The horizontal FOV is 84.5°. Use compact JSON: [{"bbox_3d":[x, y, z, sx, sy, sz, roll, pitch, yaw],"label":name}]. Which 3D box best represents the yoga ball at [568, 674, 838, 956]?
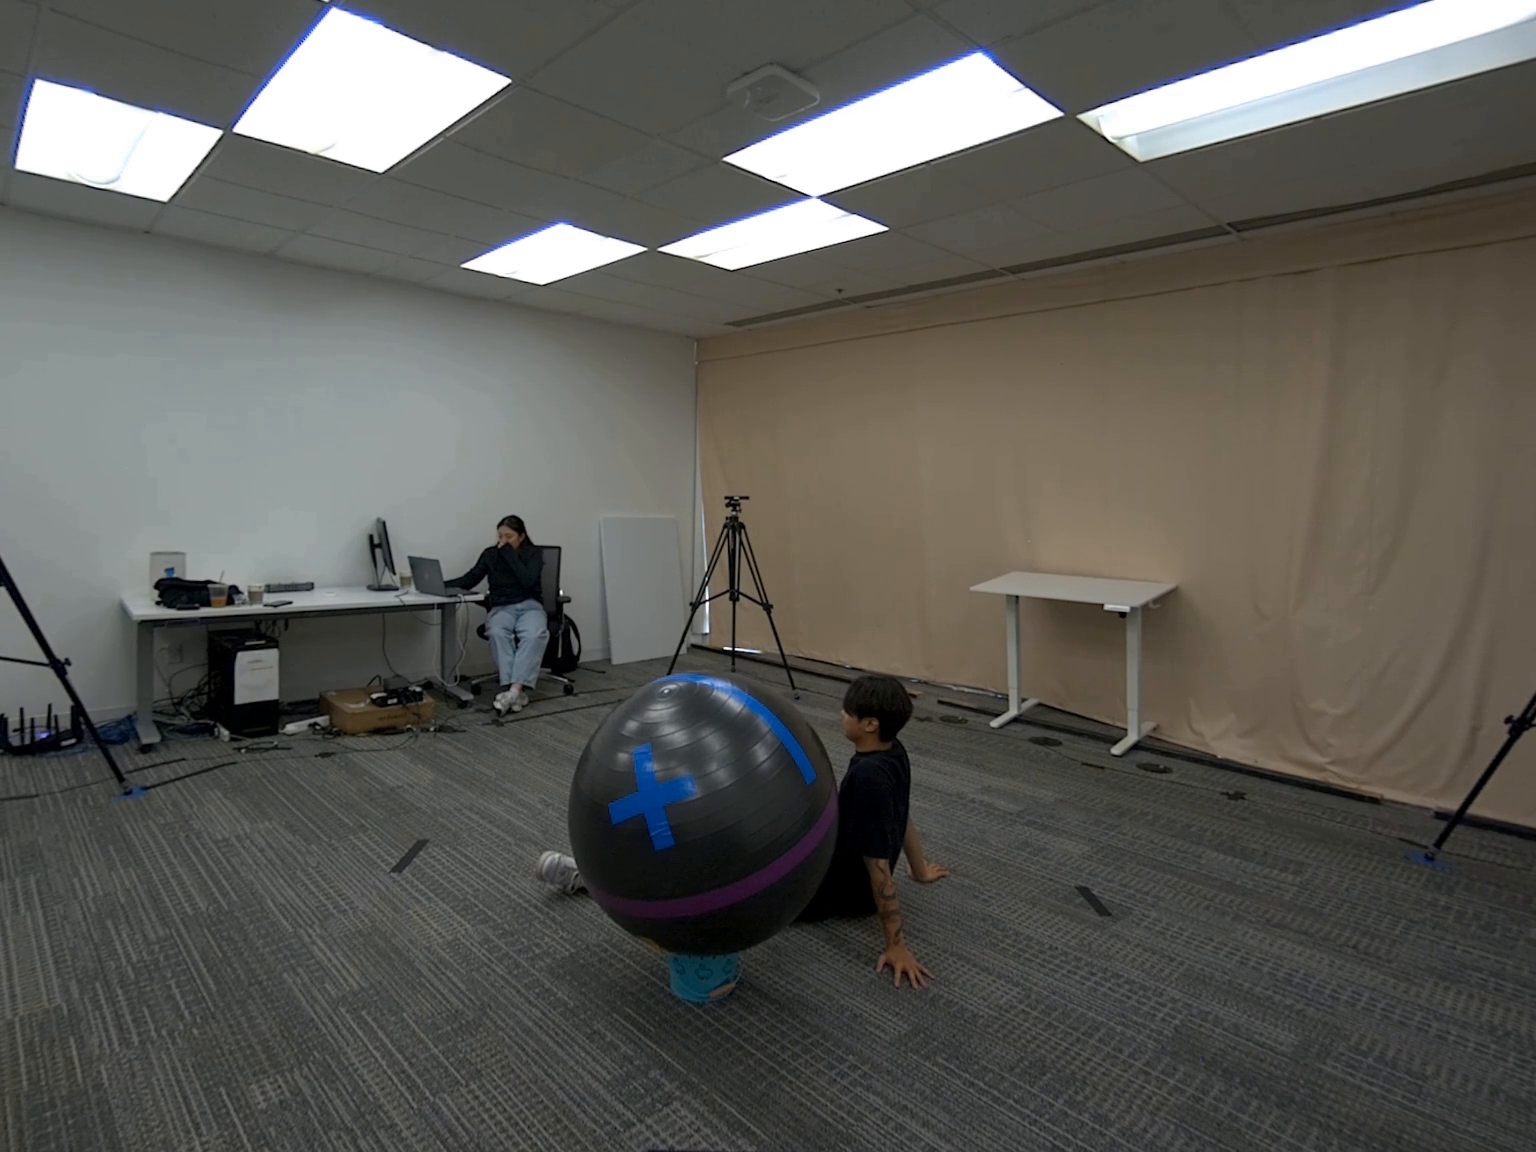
[{"bbox_3d":[-0.185,0.671,2.365,0.757,0.756,0.761,1,4,-1],"label":"yoga ball"}]
